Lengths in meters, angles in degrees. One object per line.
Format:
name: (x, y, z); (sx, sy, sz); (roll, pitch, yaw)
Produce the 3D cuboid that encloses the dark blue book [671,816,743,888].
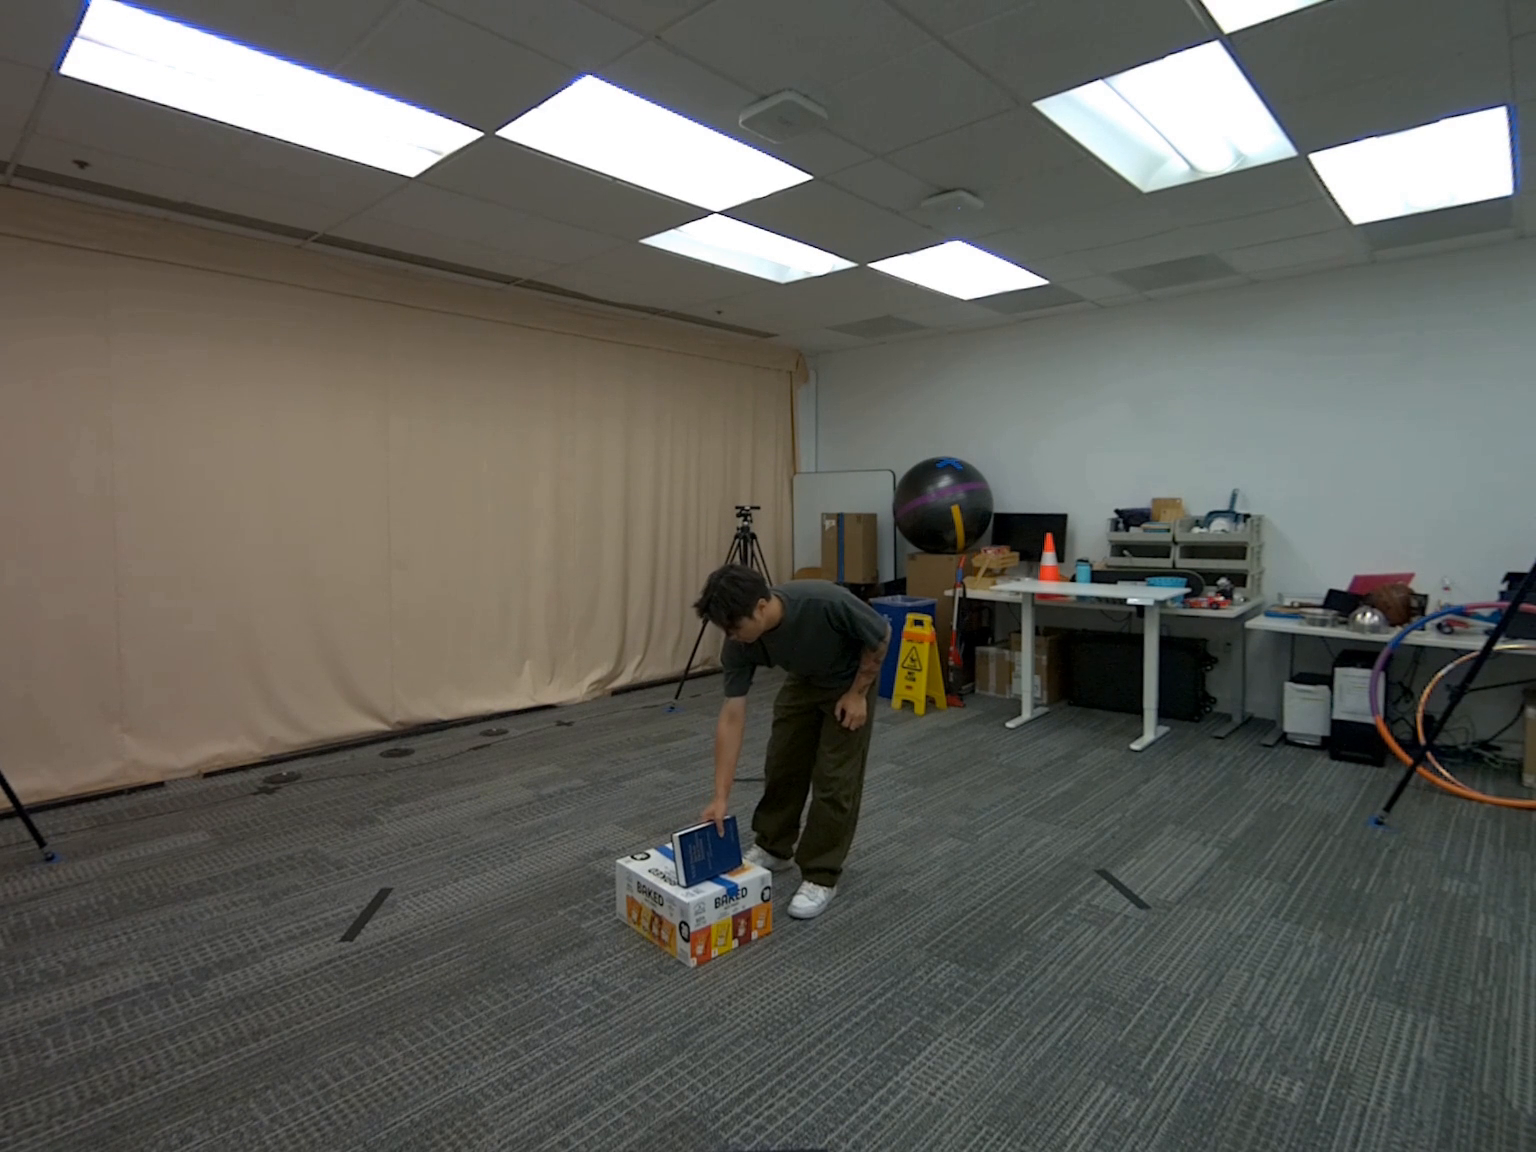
dark blue book: (-0.191, 0.884, 2.730); (0.238, 0.164, 0.046); (-6, -6, -41)
